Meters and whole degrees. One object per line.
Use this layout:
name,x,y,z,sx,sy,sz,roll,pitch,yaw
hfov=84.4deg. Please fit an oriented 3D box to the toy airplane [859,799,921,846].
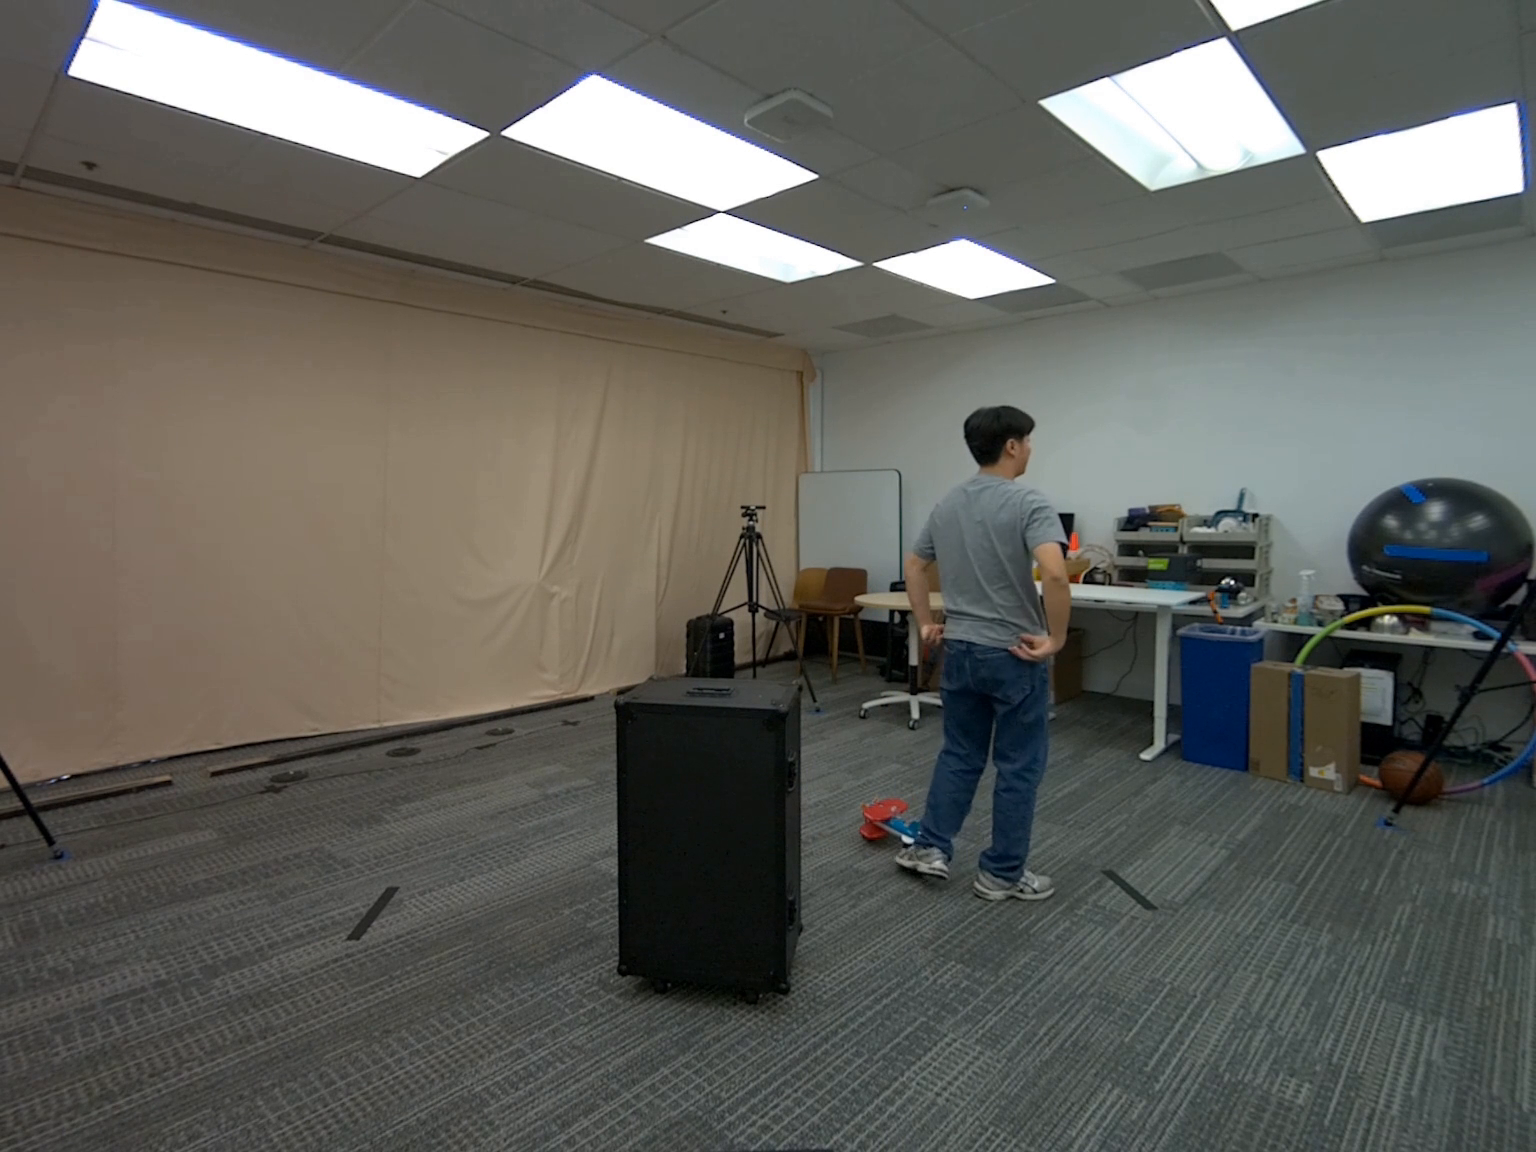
toy airplane,0.521,1.028,3.479,0.264,0.156,0.247,0,4,17
